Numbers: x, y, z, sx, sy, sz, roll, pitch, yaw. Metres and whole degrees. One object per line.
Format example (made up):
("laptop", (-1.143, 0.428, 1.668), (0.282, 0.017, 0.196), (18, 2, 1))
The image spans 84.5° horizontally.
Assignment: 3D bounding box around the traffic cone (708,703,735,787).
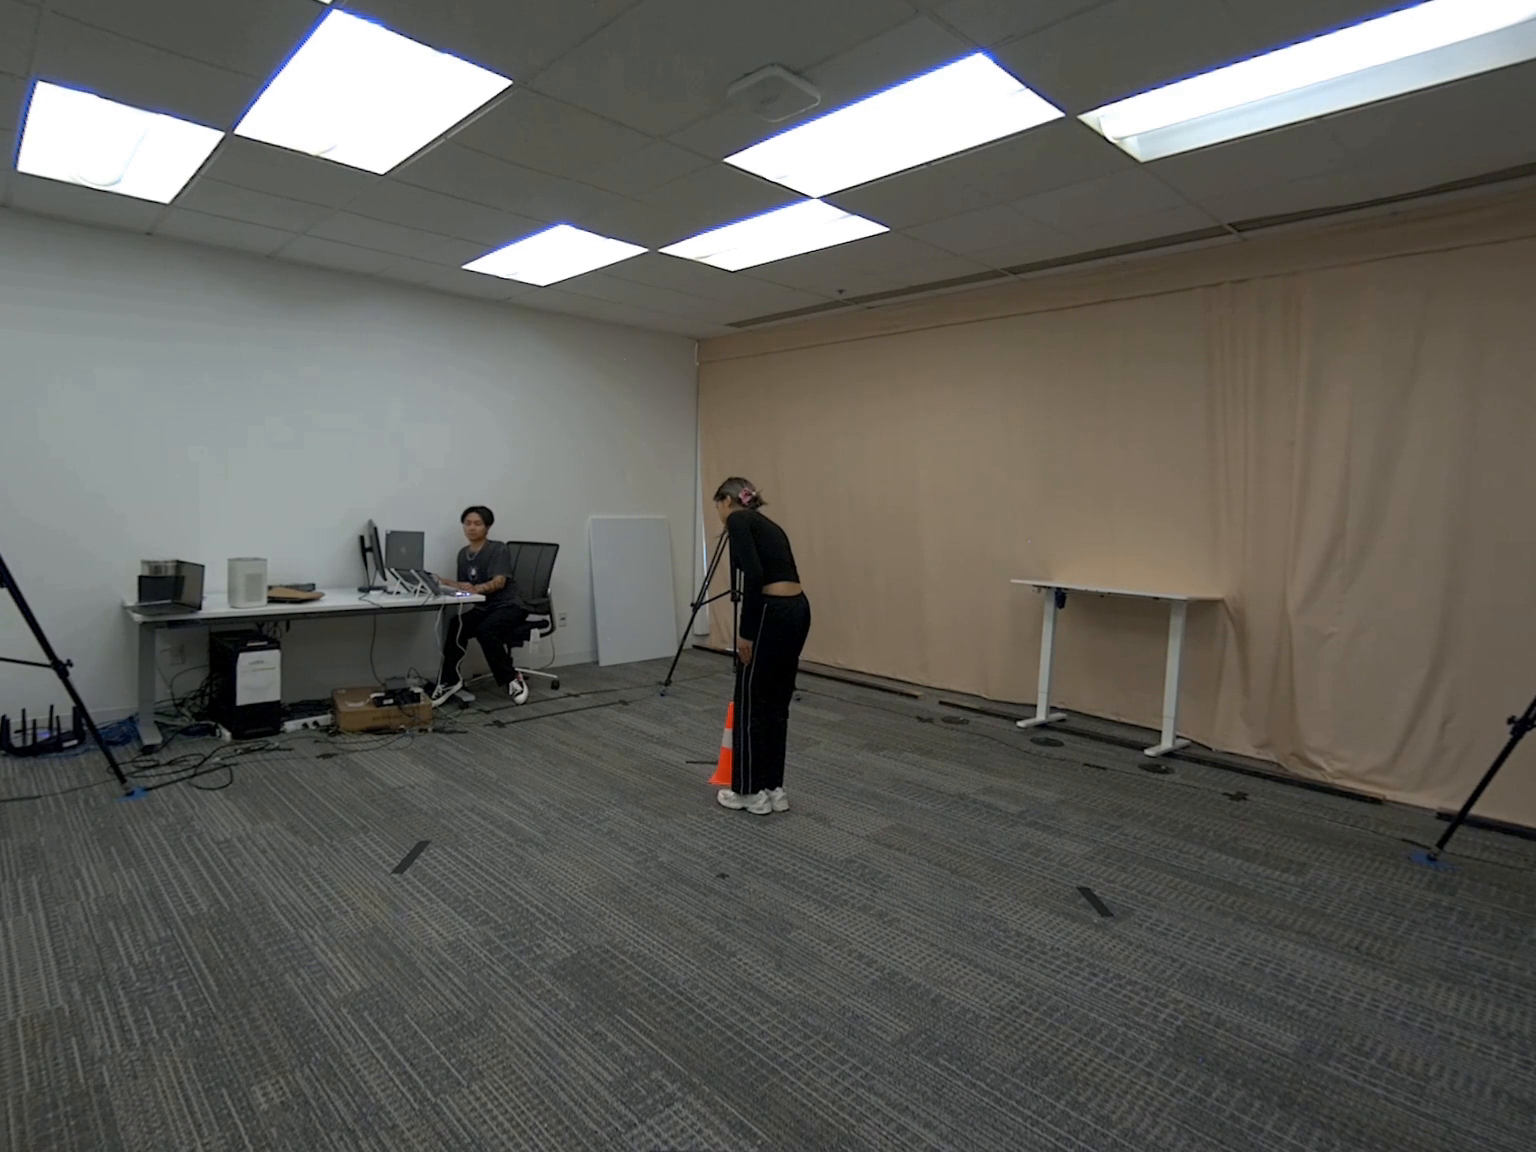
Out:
("traffic cone", (-0.186, 0.825, 4.204), (0.205, 0.383, 0.204), (4, 3, 9))
